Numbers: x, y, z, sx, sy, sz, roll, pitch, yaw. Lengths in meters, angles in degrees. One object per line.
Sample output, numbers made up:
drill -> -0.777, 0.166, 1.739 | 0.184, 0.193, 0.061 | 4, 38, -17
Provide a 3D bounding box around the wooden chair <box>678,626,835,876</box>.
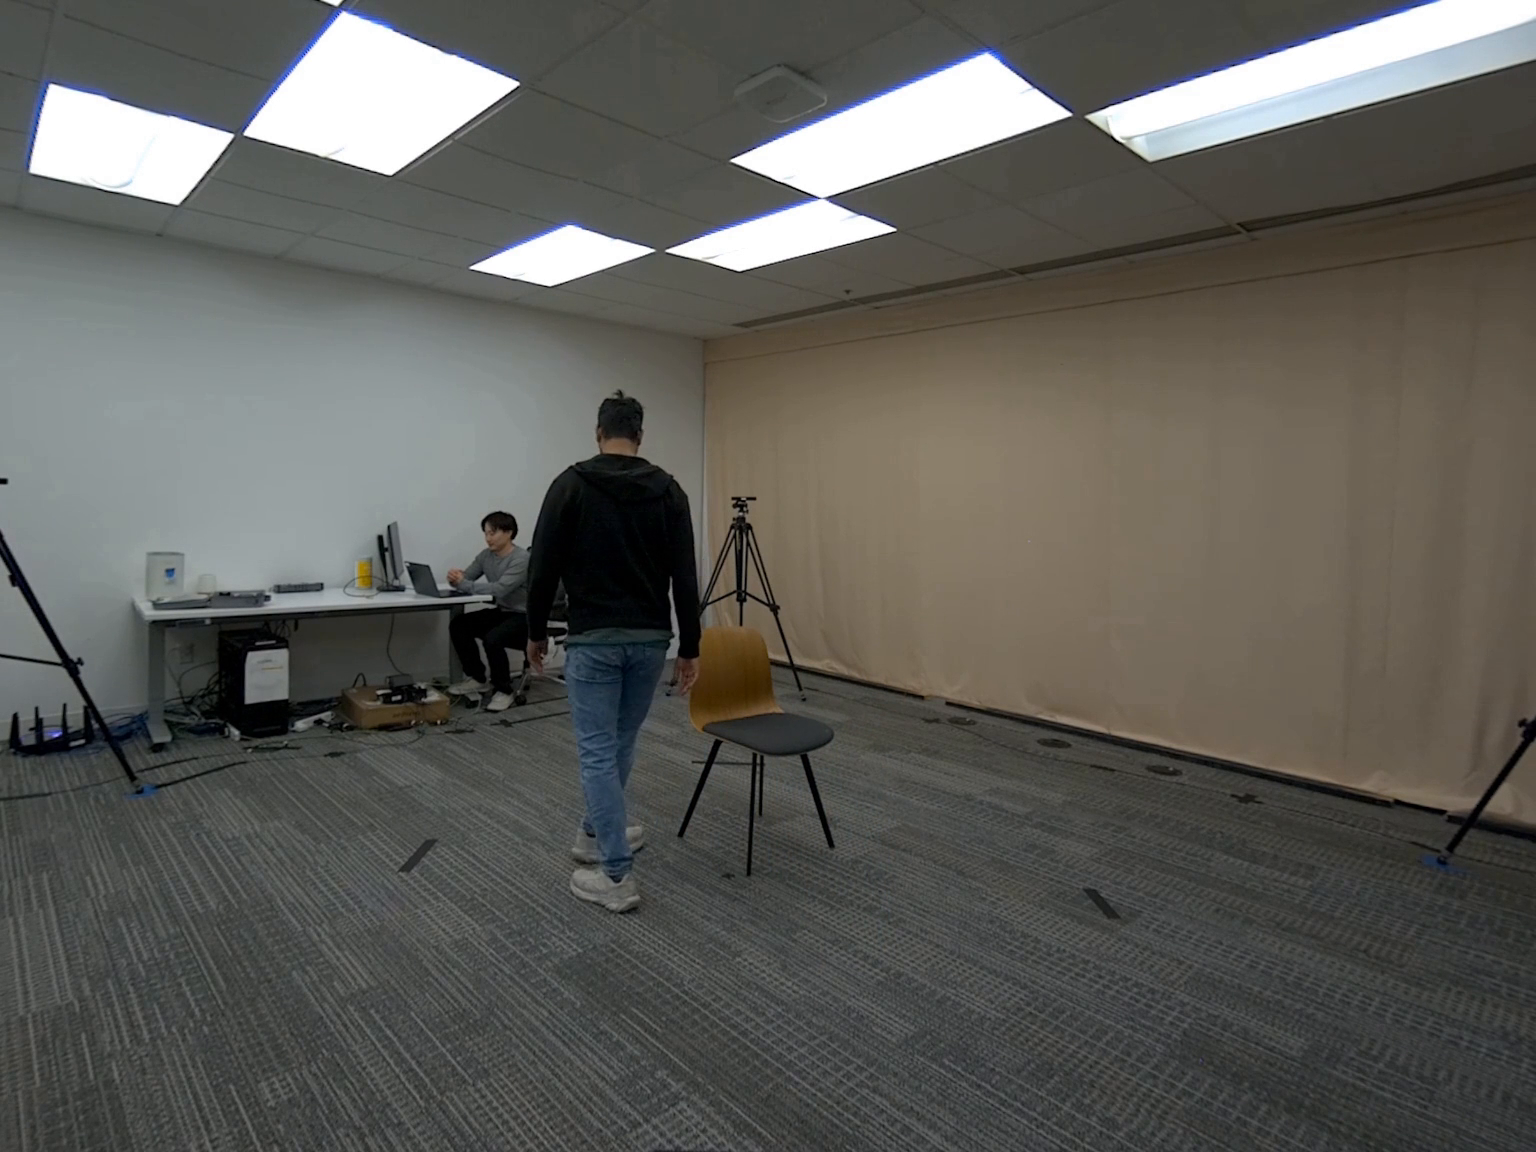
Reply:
wooden chair -> -0.043, 0.658, 3.381 | 0.467, 0.878, 0.535 | -1, 0, -40
